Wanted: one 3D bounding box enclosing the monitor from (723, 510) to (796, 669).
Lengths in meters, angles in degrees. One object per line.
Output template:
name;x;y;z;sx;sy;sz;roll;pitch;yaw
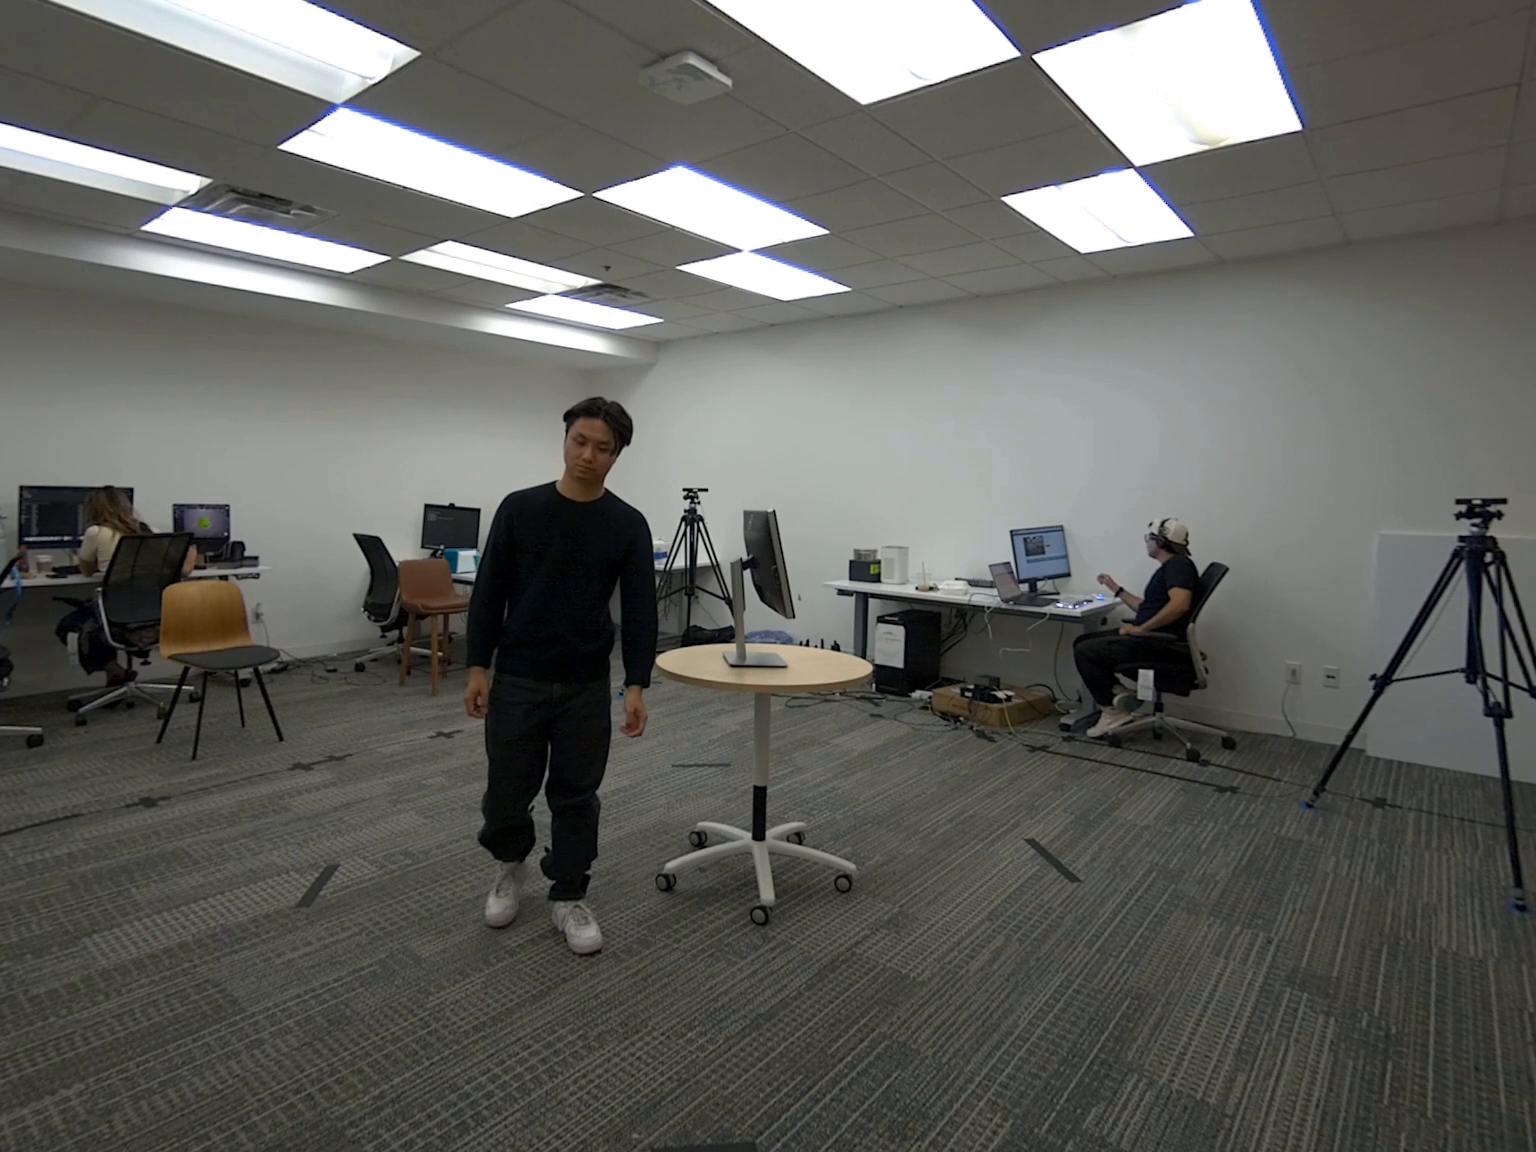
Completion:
monitor;-0.058;0.041;3.015;0.185;0.521;0.546;1;5;-10
